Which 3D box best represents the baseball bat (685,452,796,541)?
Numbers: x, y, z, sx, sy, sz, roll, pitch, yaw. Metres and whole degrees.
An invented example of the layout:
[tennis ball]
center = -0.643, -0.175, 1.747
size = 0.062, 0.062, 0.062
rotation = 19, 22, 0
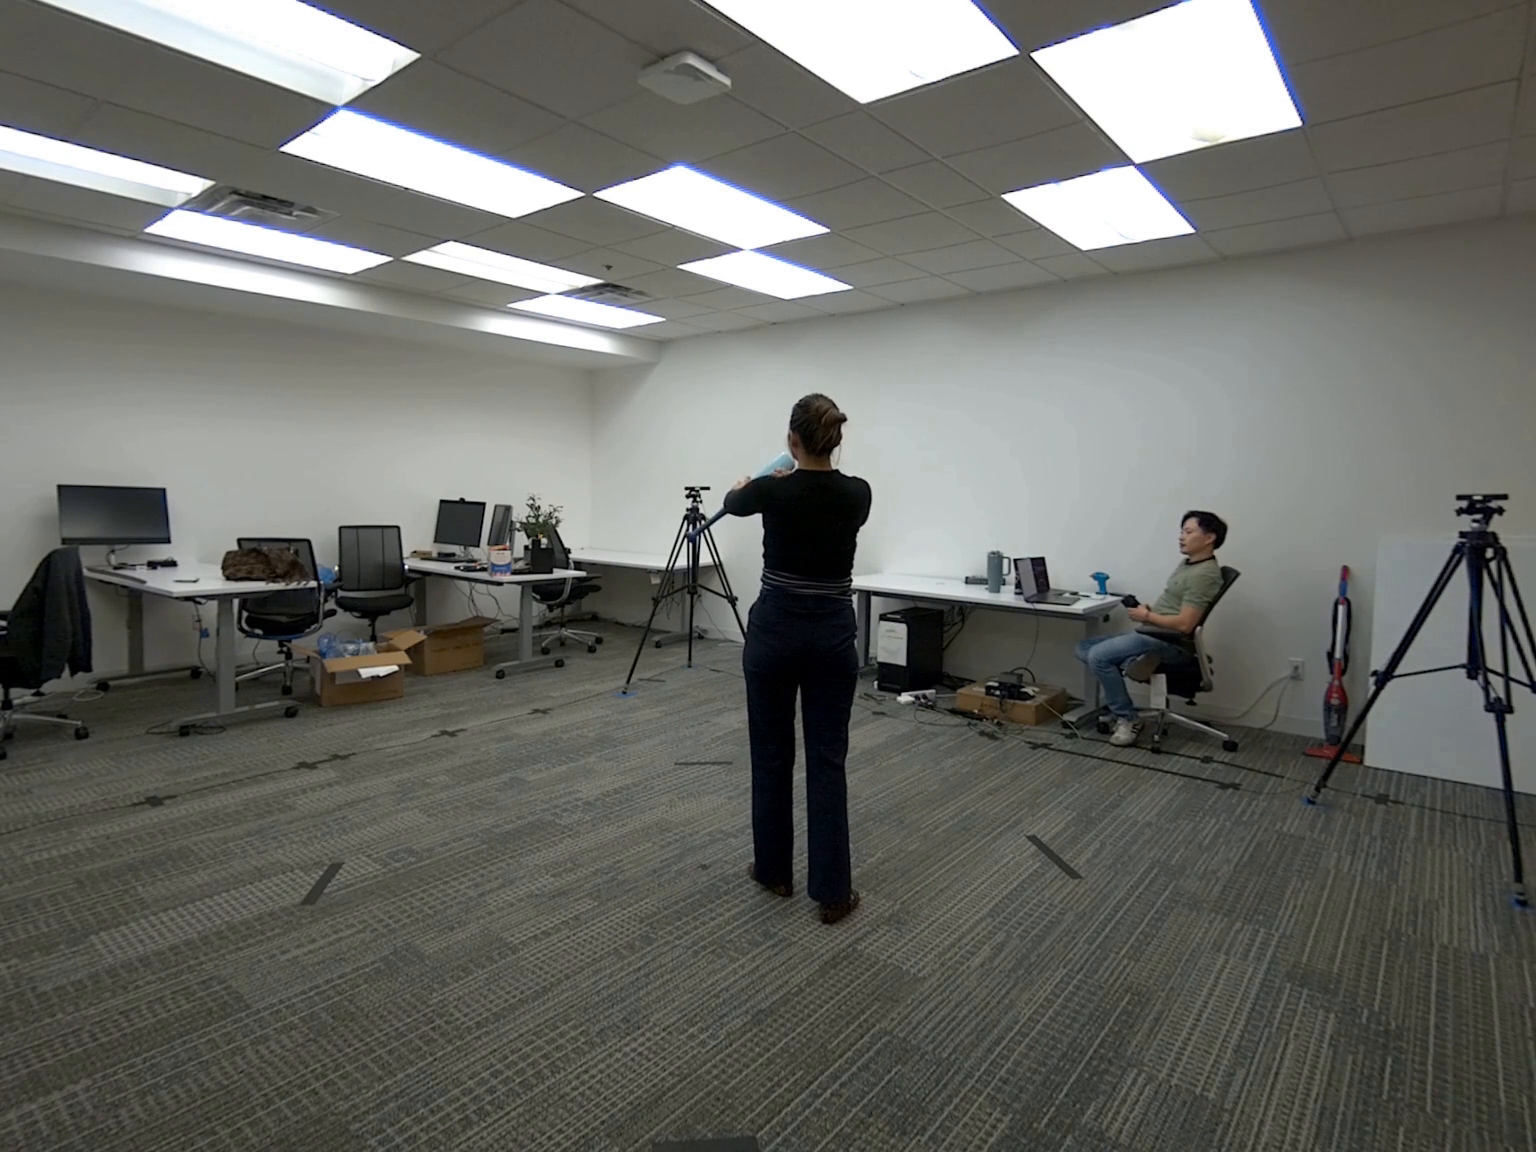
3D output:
[baseball bat]
center = -0.120, -0.313, 3.405
size = 0.541, 0.087, 0.091
rotation = -40, 17, -14
